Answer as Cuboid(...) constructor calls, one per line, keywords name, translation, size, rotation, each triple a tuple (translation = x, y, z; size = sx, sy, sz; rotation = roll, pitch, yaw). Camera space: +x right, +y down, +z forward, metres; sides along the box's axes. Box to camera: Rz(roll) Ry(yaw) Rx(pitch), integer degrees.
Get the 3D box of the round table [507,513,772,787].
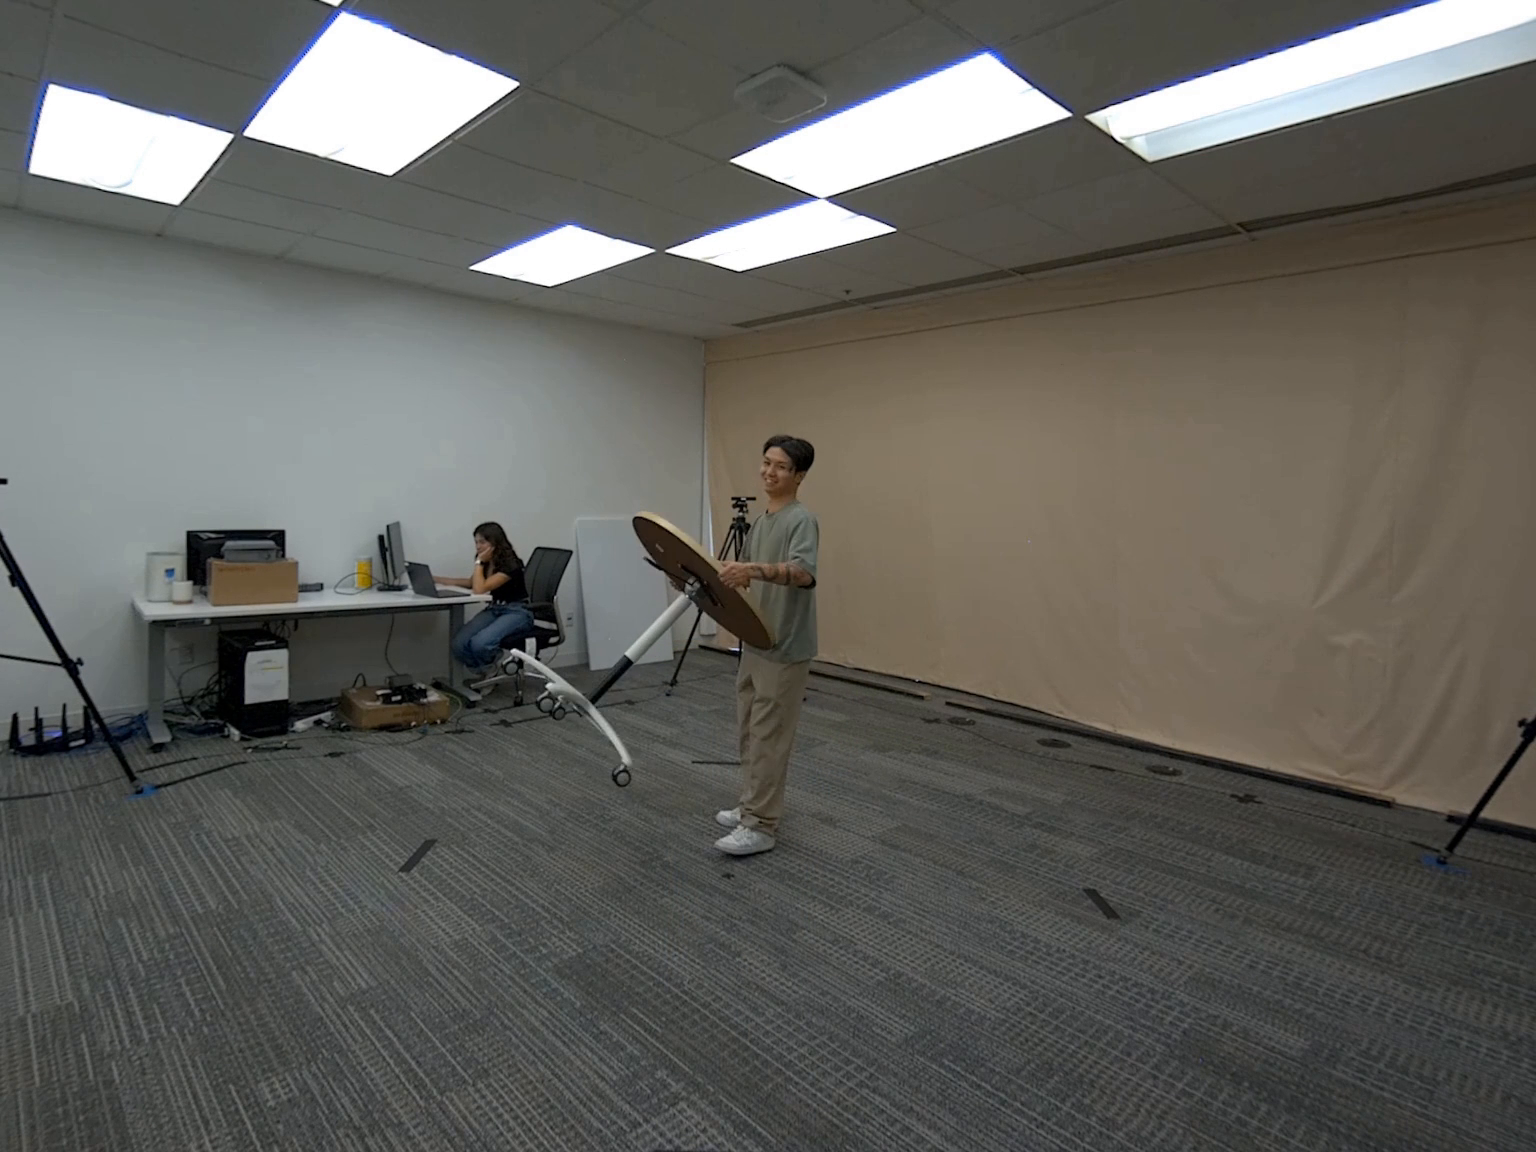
Cuboid(name="round table", translation=(-0.521, 0.305, 3.315), size=(0.795, 0.786, 0.775), rotation=(41, -14, 11))
